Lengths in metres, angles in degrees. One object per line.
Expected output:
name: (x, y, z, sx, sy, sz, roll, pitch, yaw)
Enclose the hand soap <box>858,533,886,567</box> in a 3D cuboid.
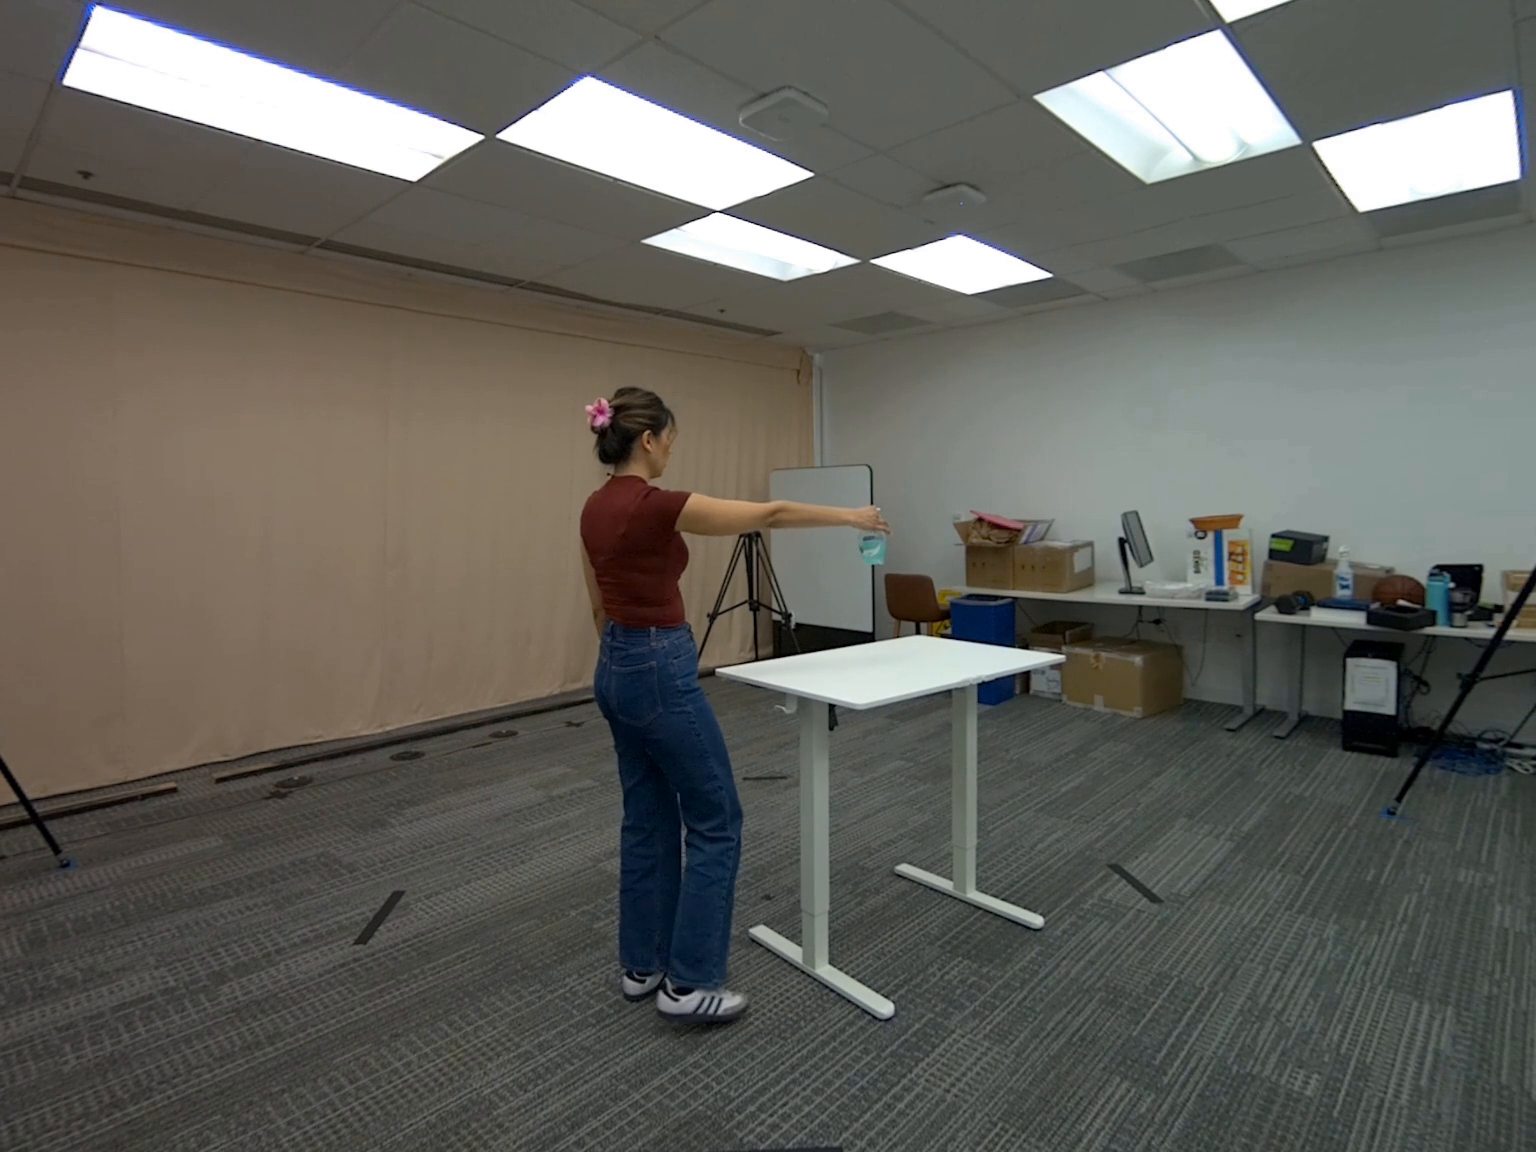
hand soap: (0.315, -0.115, 2.506, 0.087, 0.168, 0.042, -3, 2, 28)
